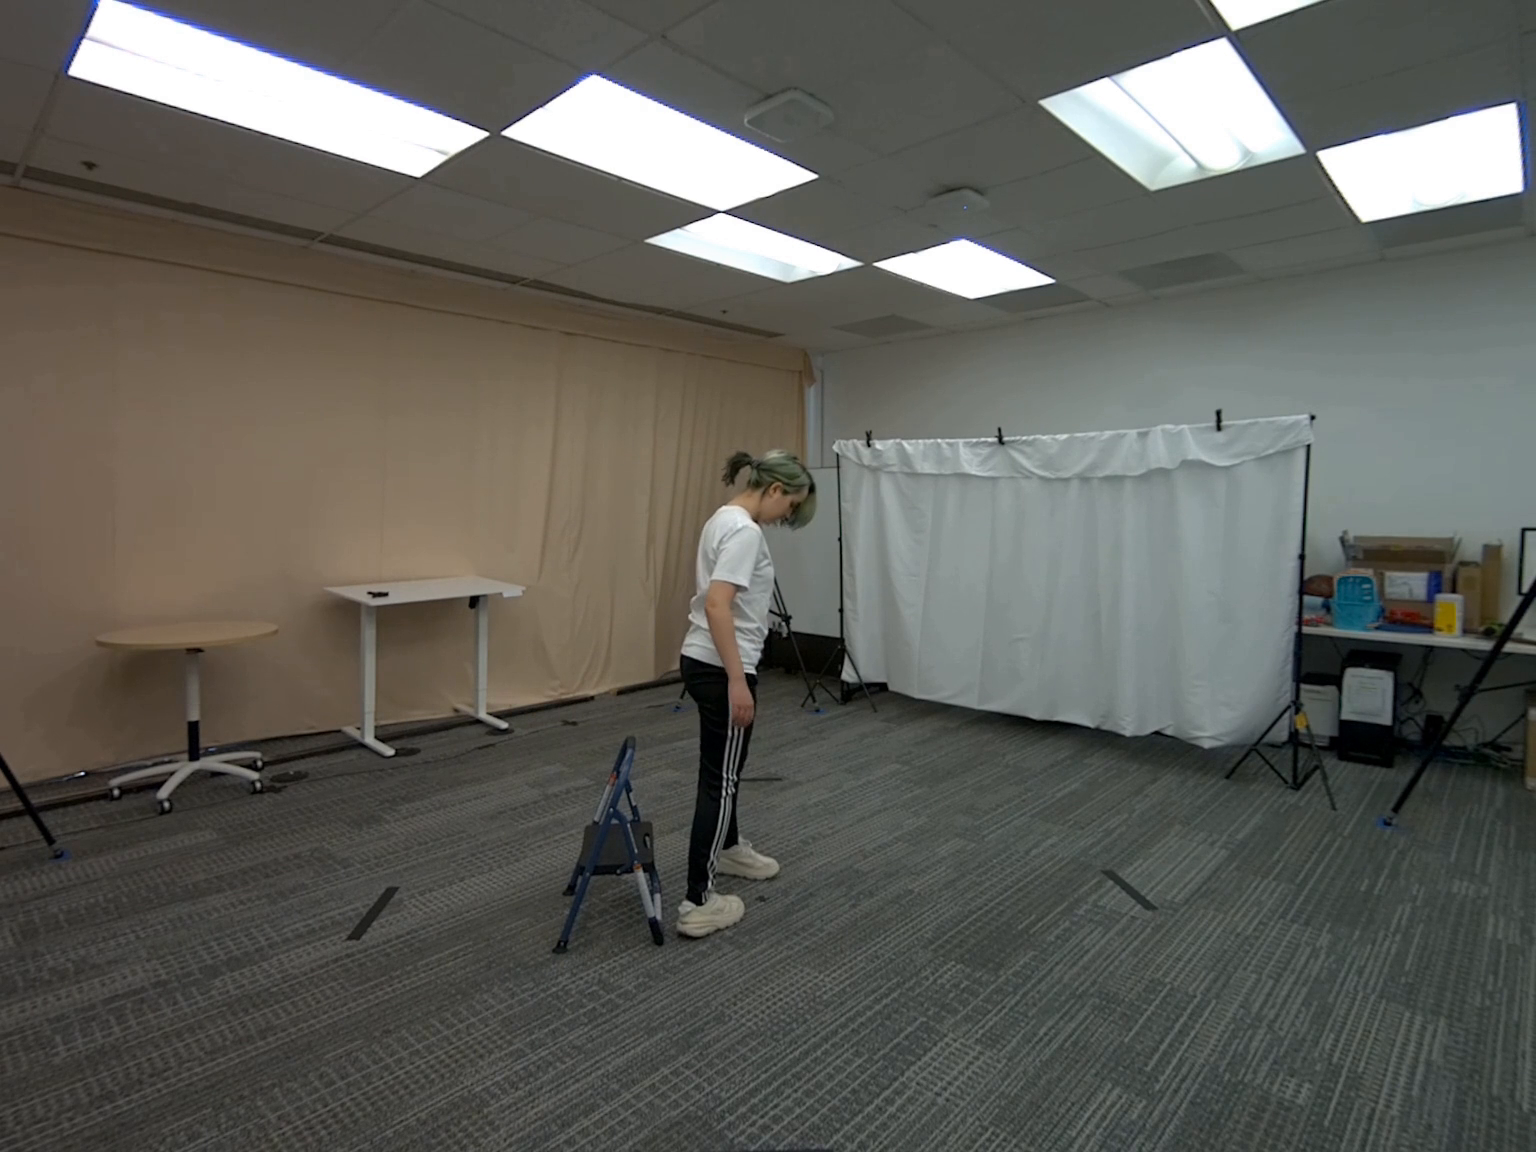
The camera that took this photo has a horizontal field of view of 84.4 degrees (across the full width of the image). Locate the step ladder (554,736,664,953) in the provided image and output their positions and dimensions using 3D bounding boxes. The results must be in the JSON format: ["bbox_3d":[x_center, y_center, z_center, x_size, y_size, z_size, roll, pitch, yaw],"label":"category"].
[{"bbox_3d":[-0.532,0.860,2.838,0.346,0.605,0.435,-1,4,-9],"label":"step ladder"}]
